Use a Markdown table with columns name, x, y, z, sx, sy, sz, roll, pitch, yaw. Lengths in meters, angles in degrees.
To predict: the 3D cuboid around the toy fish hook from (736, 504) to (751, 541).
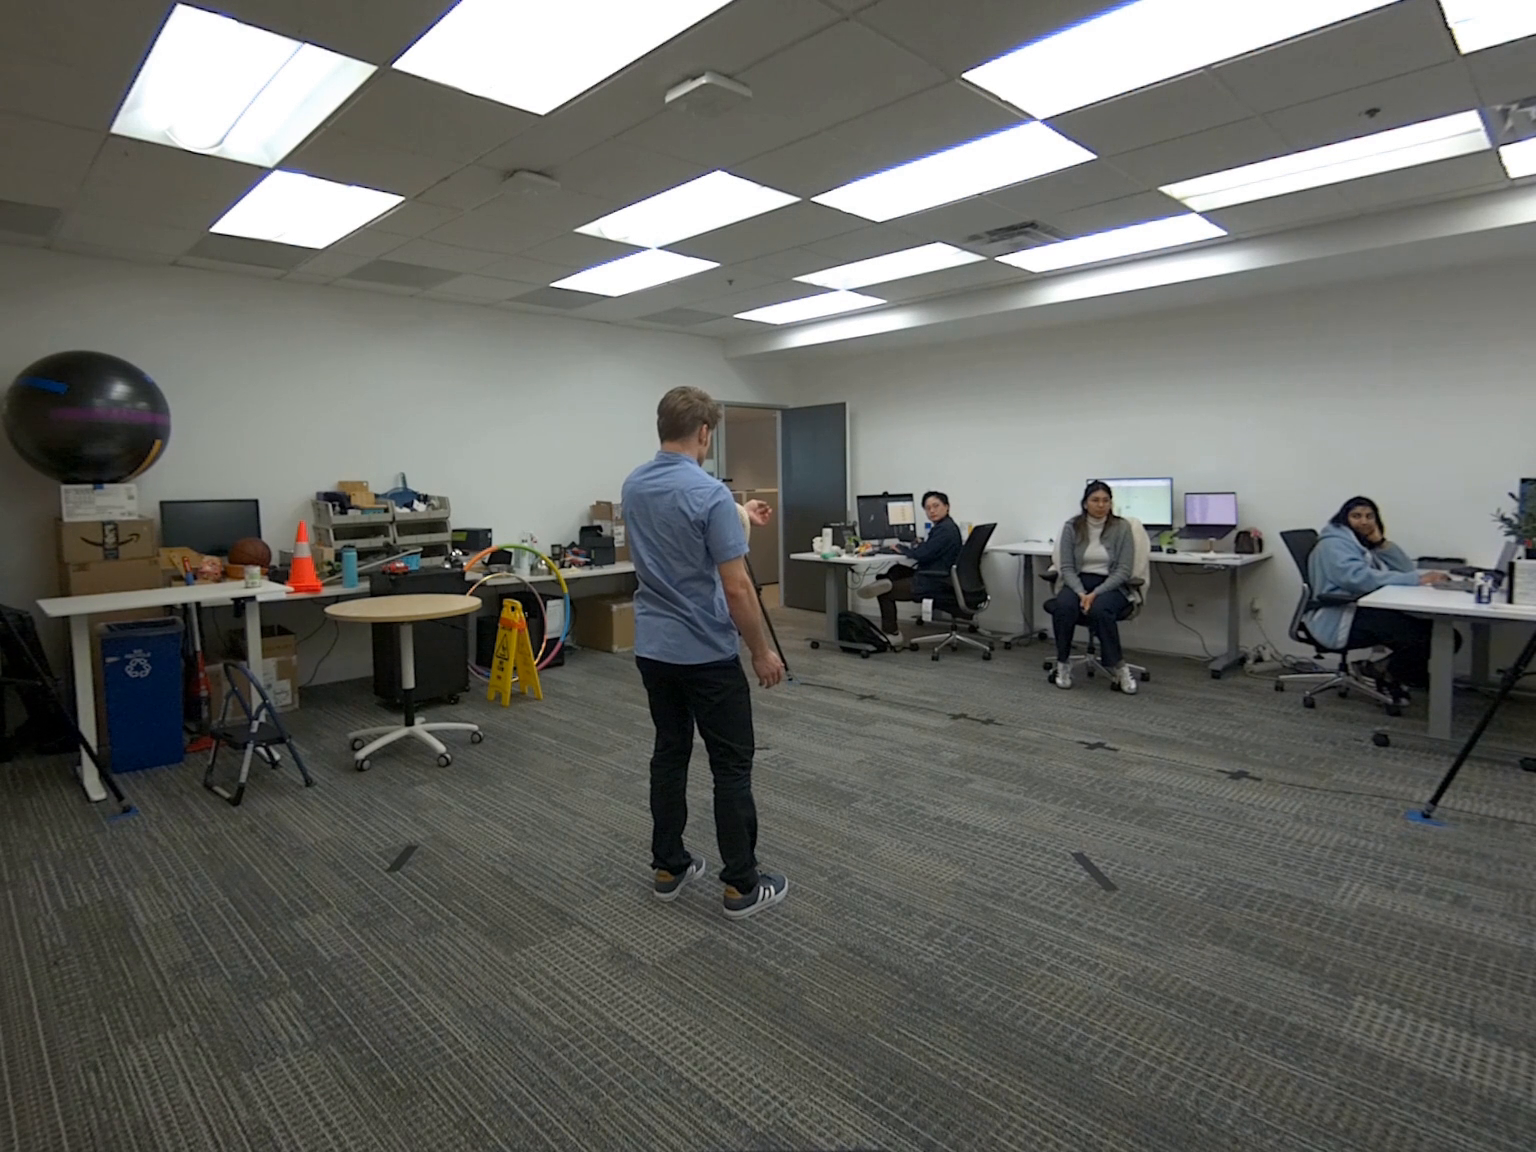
| name | x | y | z | sx | sy | sz | roll | pitch | yaw |
| --- | --- | --- | --- | --- | --- | --- | --- | --- | --- |
| toy fish hook | -0.169 | -0.035 | 3.203 | 0.047 | 0.500 | 0.233 | -2 | 21 | -35 |
